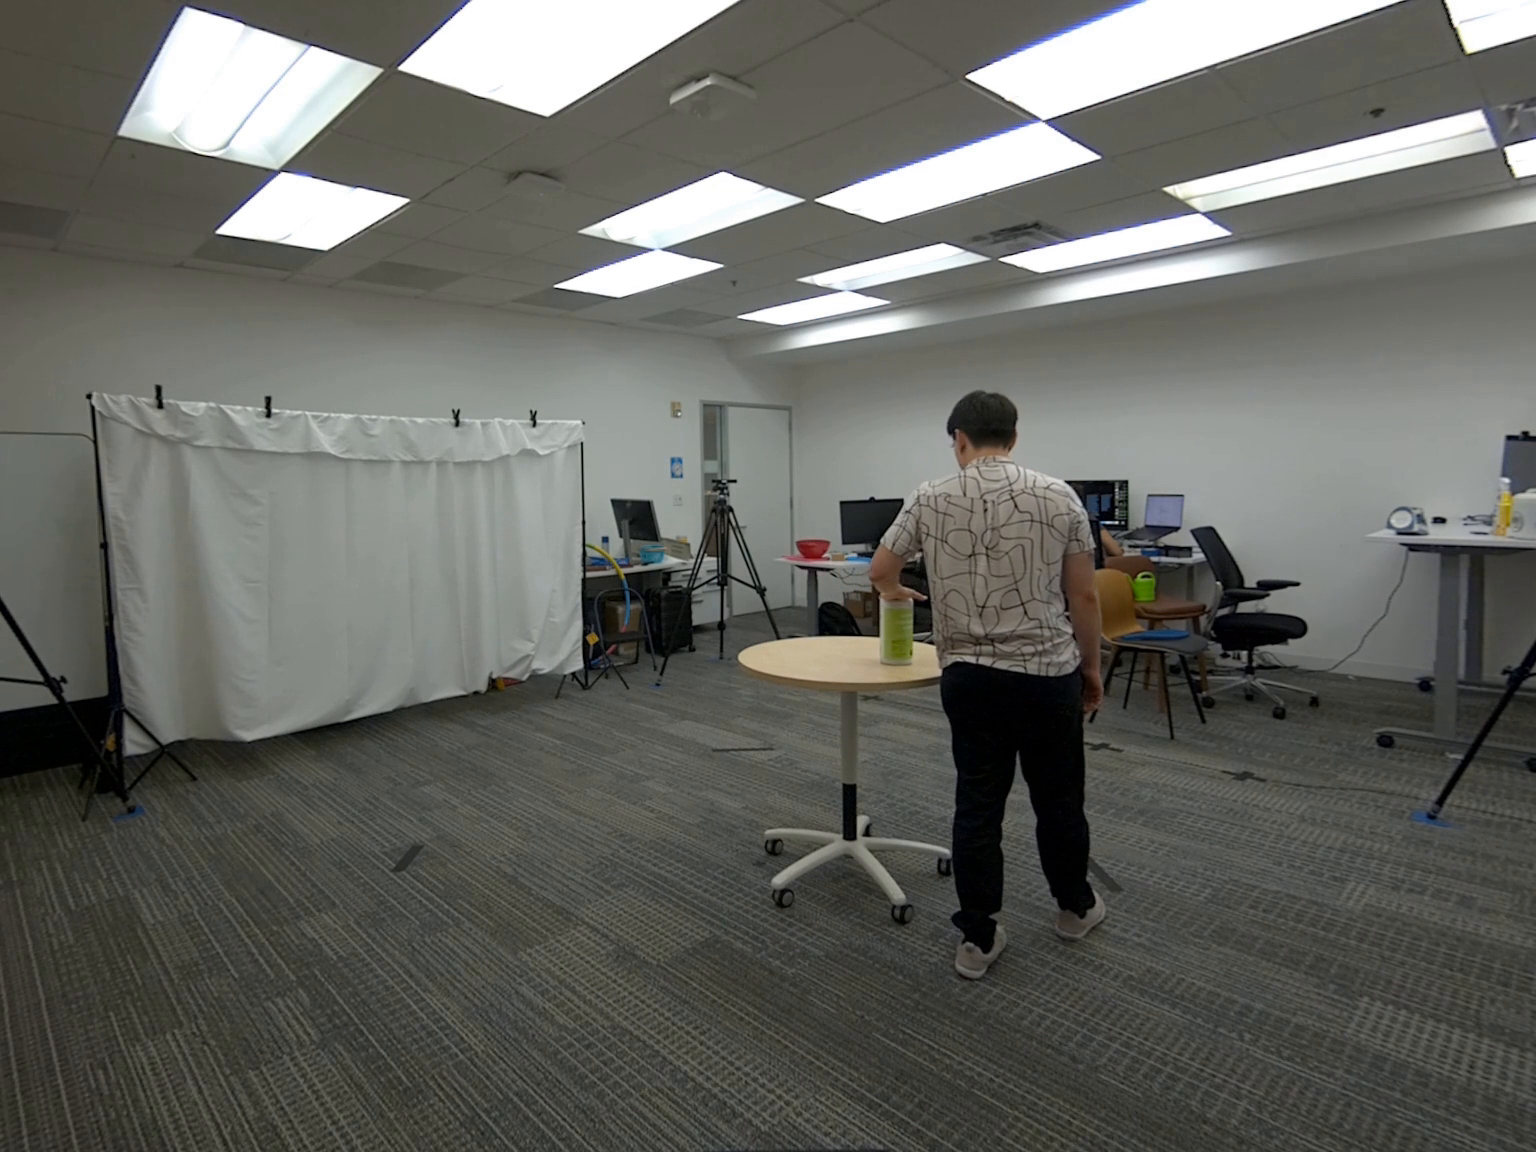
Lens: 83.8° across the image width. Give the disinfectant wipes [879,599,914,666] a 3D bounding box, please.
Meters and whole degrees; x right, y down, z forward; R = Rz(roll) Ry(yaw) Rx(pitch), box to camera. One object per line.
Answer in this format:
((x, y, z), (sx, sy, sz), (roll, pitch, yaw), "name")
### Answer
((0.434, 0.186, 2.839), (0.118, 0.216, 0.118), (1, 5, -2), "disinfectant wipes")
